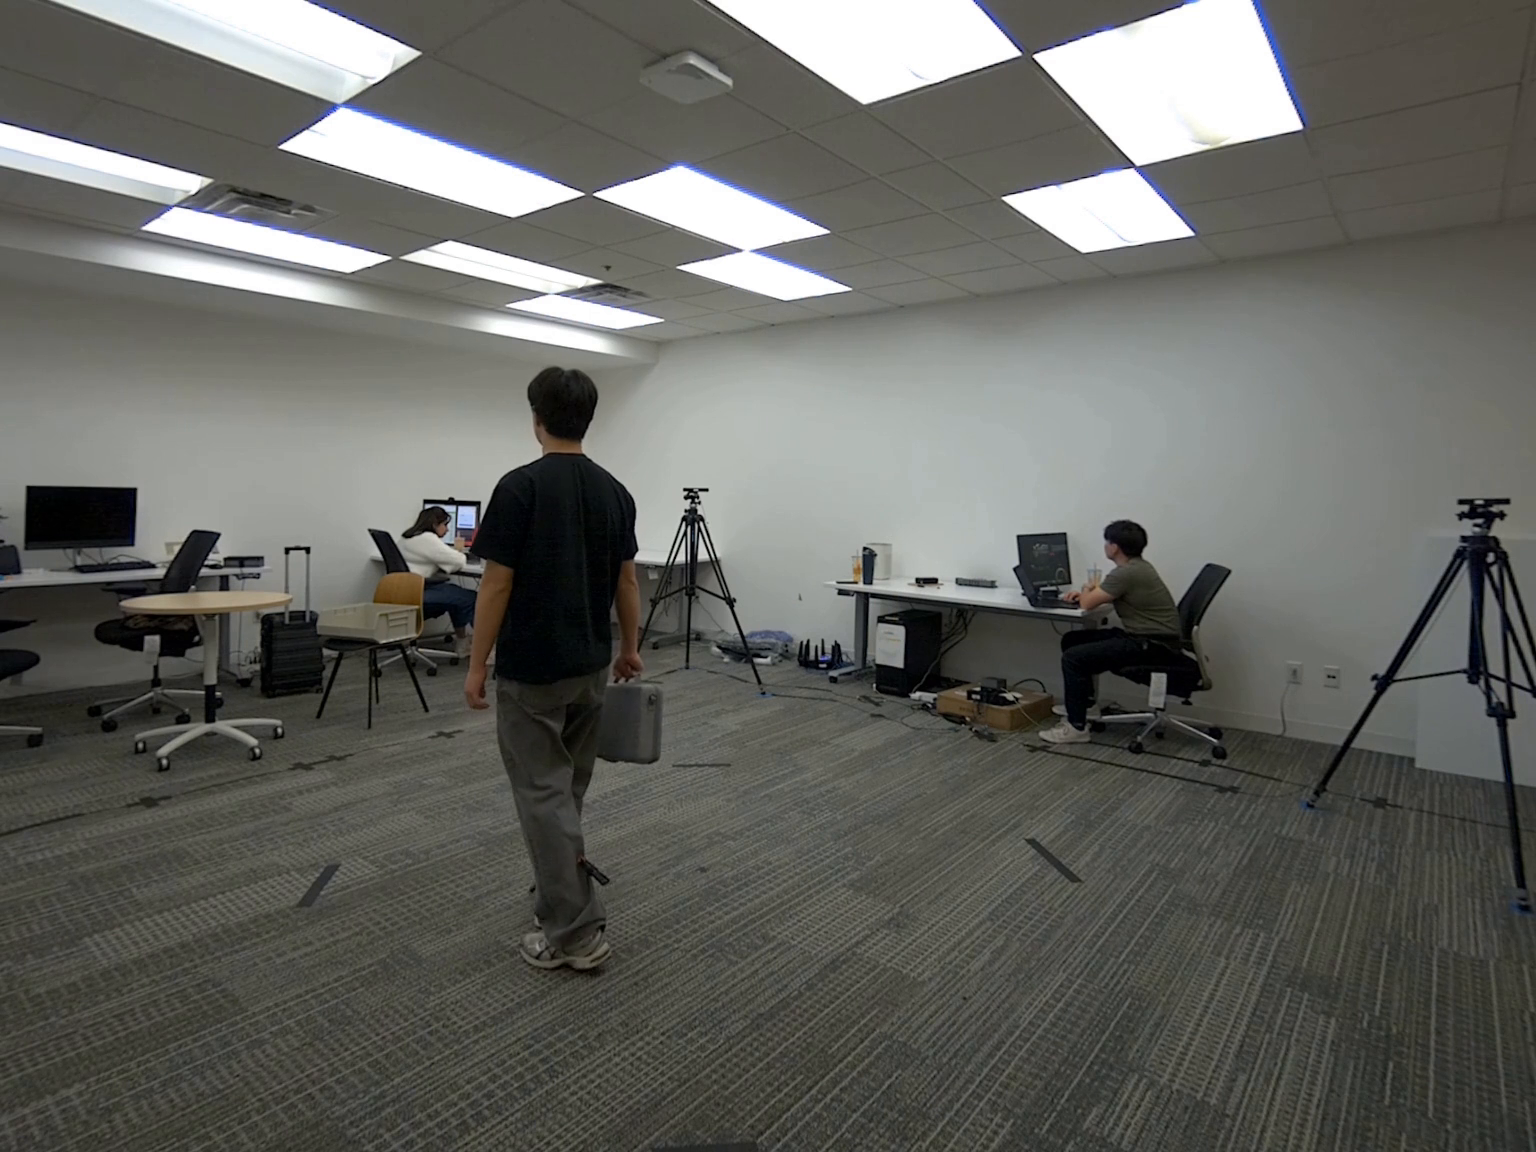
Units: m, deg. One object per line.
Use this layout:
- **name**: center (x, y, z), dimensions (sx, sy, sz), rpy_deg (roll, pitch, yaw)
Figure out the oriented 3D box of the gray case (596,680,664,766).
- **gray case**: center (-0.477, 0.469, 2.825), dimensions (0.270, 0.290, 0.099), rpy_deg (-8, -16, 43)
